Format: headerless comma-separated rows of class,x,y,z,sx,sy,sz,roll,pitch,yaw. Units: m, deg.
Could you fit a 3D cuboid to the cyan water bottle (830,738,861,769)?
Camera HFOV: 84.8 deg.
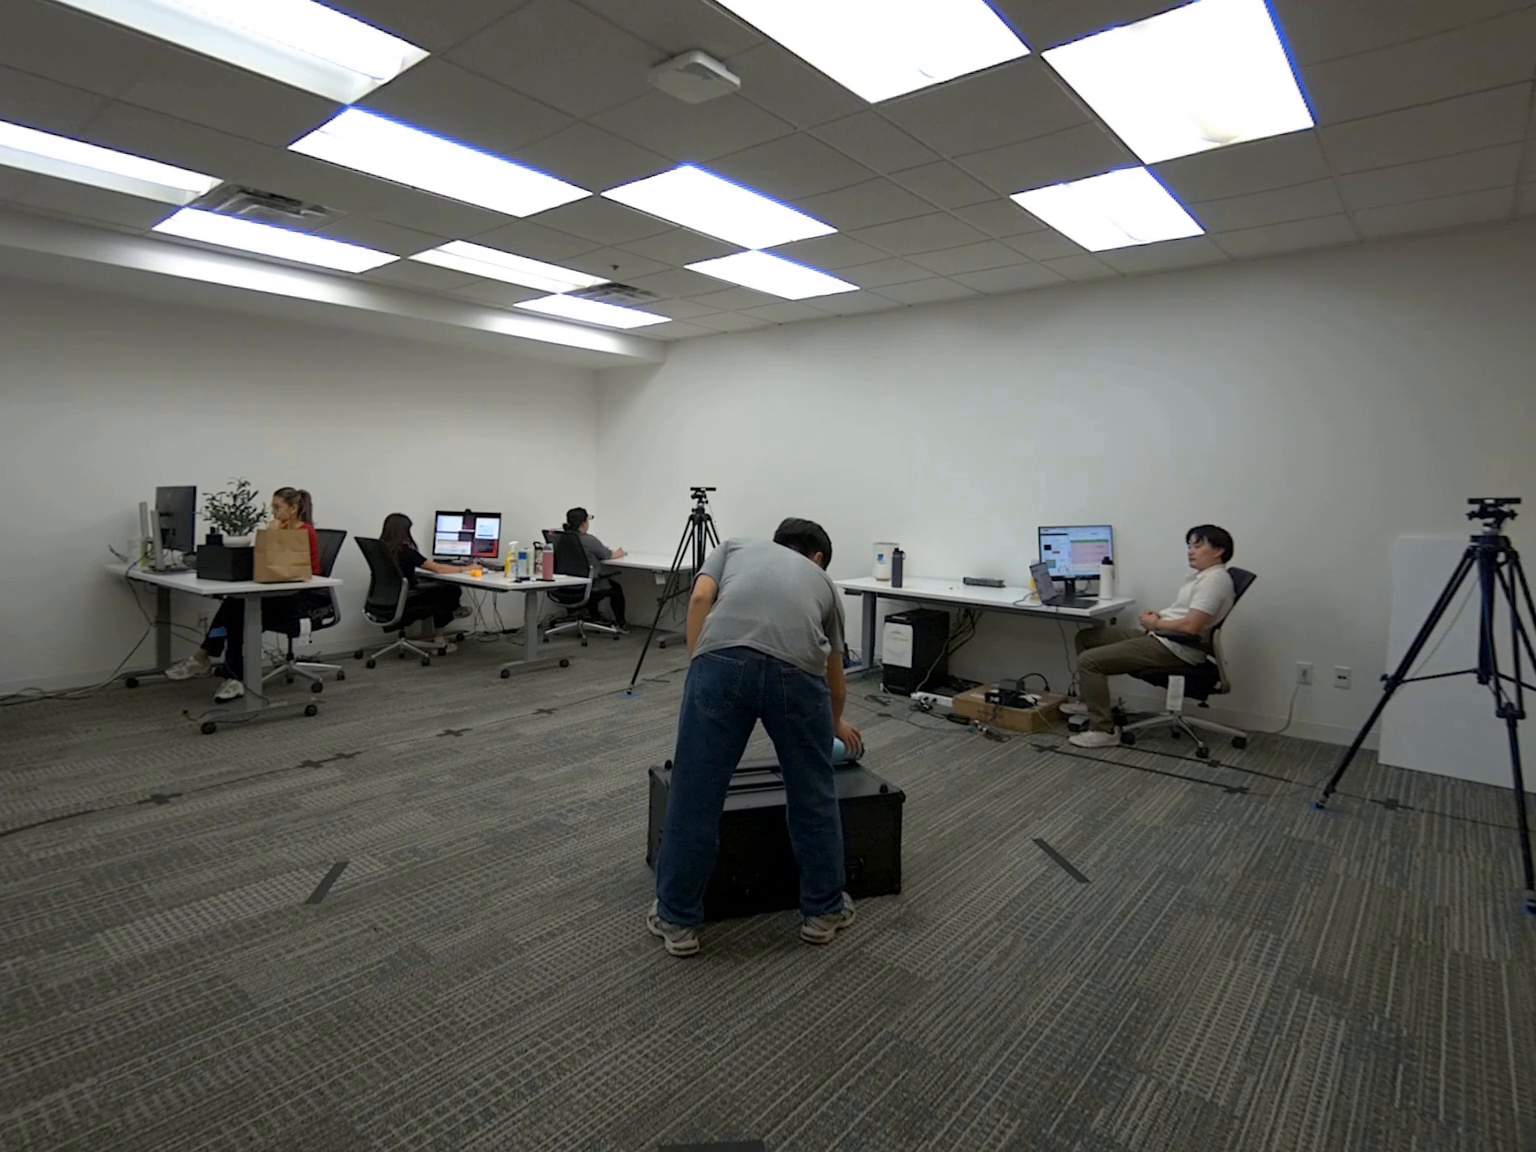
cyan water bottle,0.227,0.653,3.201,0.277,0.092,0.095,-2,5,-24
